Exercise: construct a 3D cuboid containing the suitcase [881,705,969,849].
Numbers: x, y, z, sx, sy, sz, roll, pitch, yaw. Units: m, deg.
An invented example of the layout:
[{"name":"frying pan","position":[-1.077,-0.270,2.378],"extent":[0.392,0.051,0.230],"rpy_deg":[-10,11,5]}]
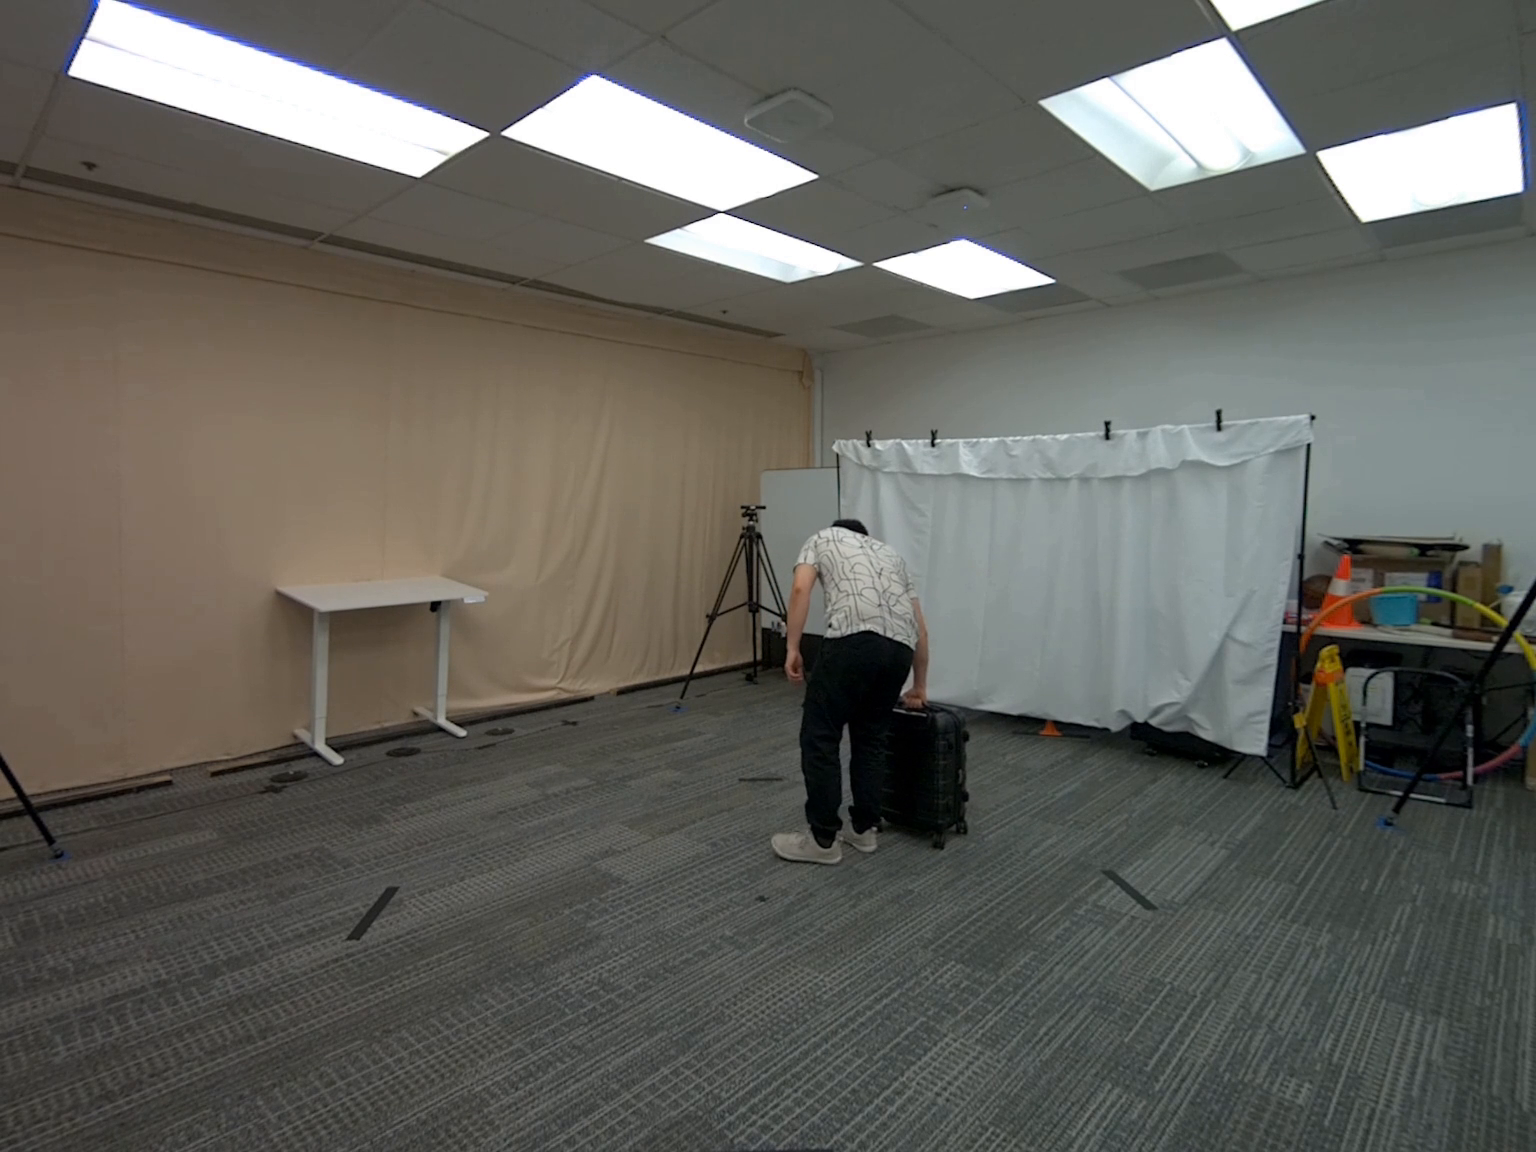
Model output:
[{"name":"suitcase","position":[0.651,0.813,3.614],"extent":[0.387,0.549,0.240],"rpy_deg":[1,1,39]}]
